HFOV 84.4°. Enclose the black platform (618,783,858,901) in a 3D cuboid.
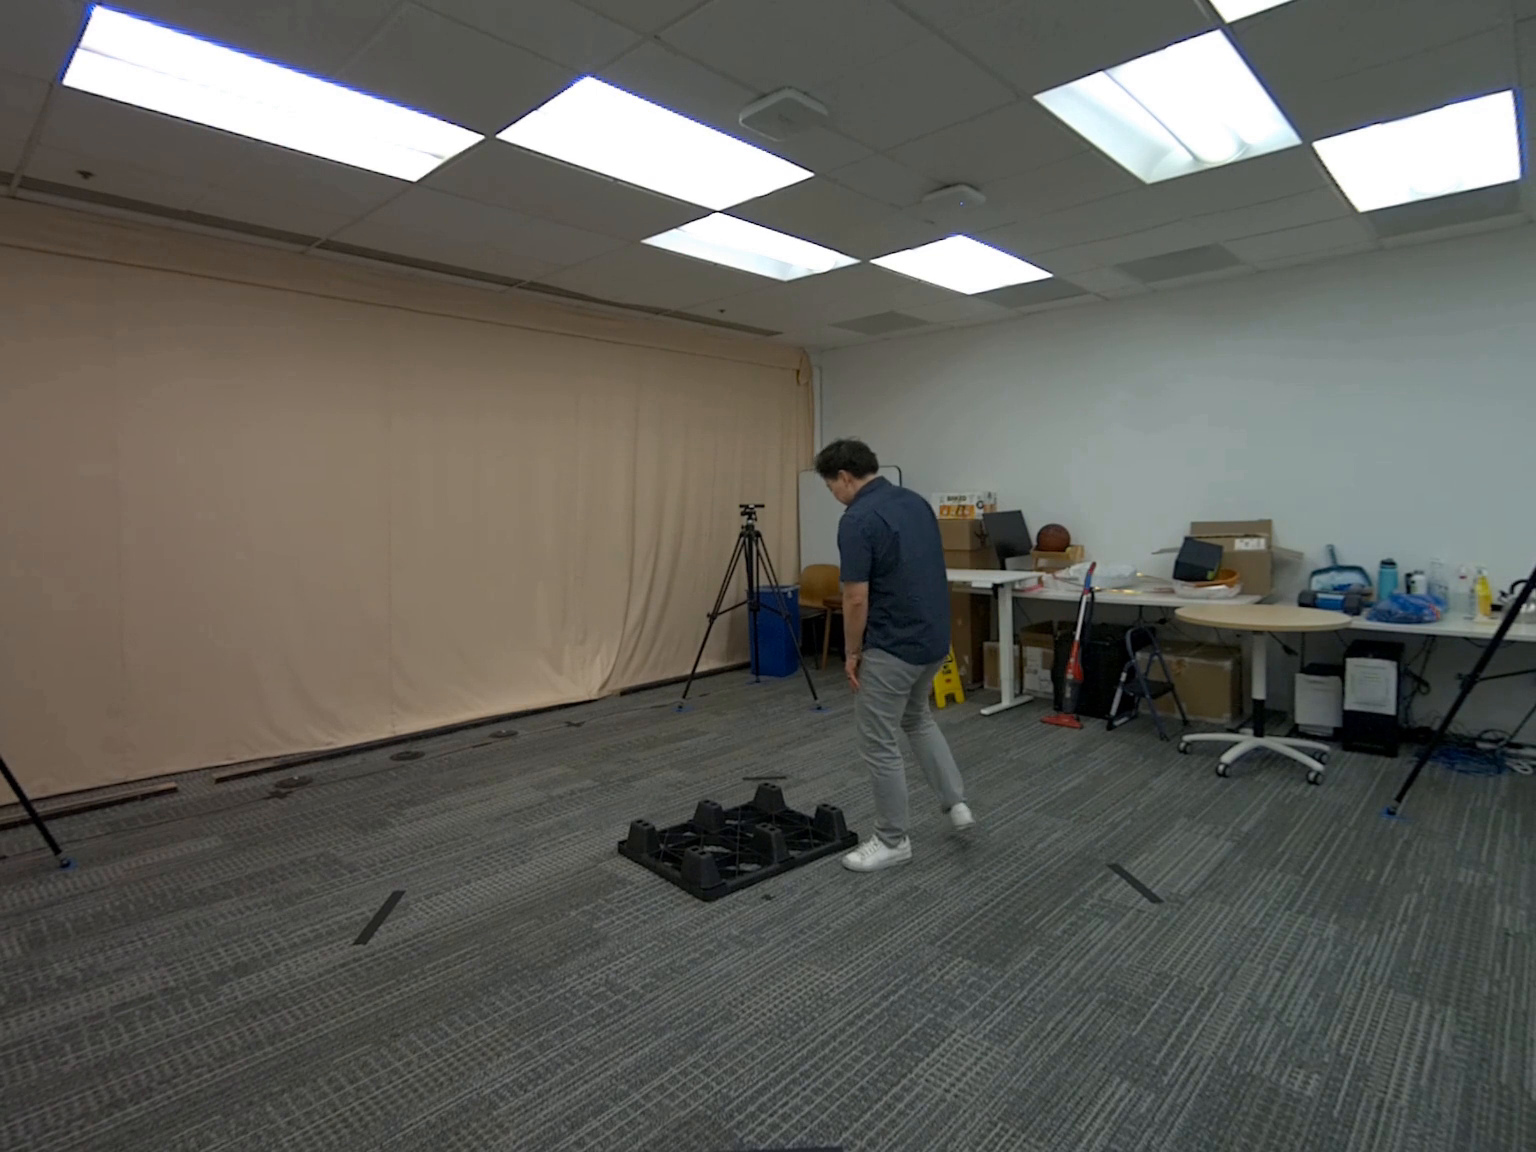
[{"bbox_3d":[-0.118,1.038,3.425,0.781,0.143,0.625,-5,6,-40],"label":"black platform"}]
